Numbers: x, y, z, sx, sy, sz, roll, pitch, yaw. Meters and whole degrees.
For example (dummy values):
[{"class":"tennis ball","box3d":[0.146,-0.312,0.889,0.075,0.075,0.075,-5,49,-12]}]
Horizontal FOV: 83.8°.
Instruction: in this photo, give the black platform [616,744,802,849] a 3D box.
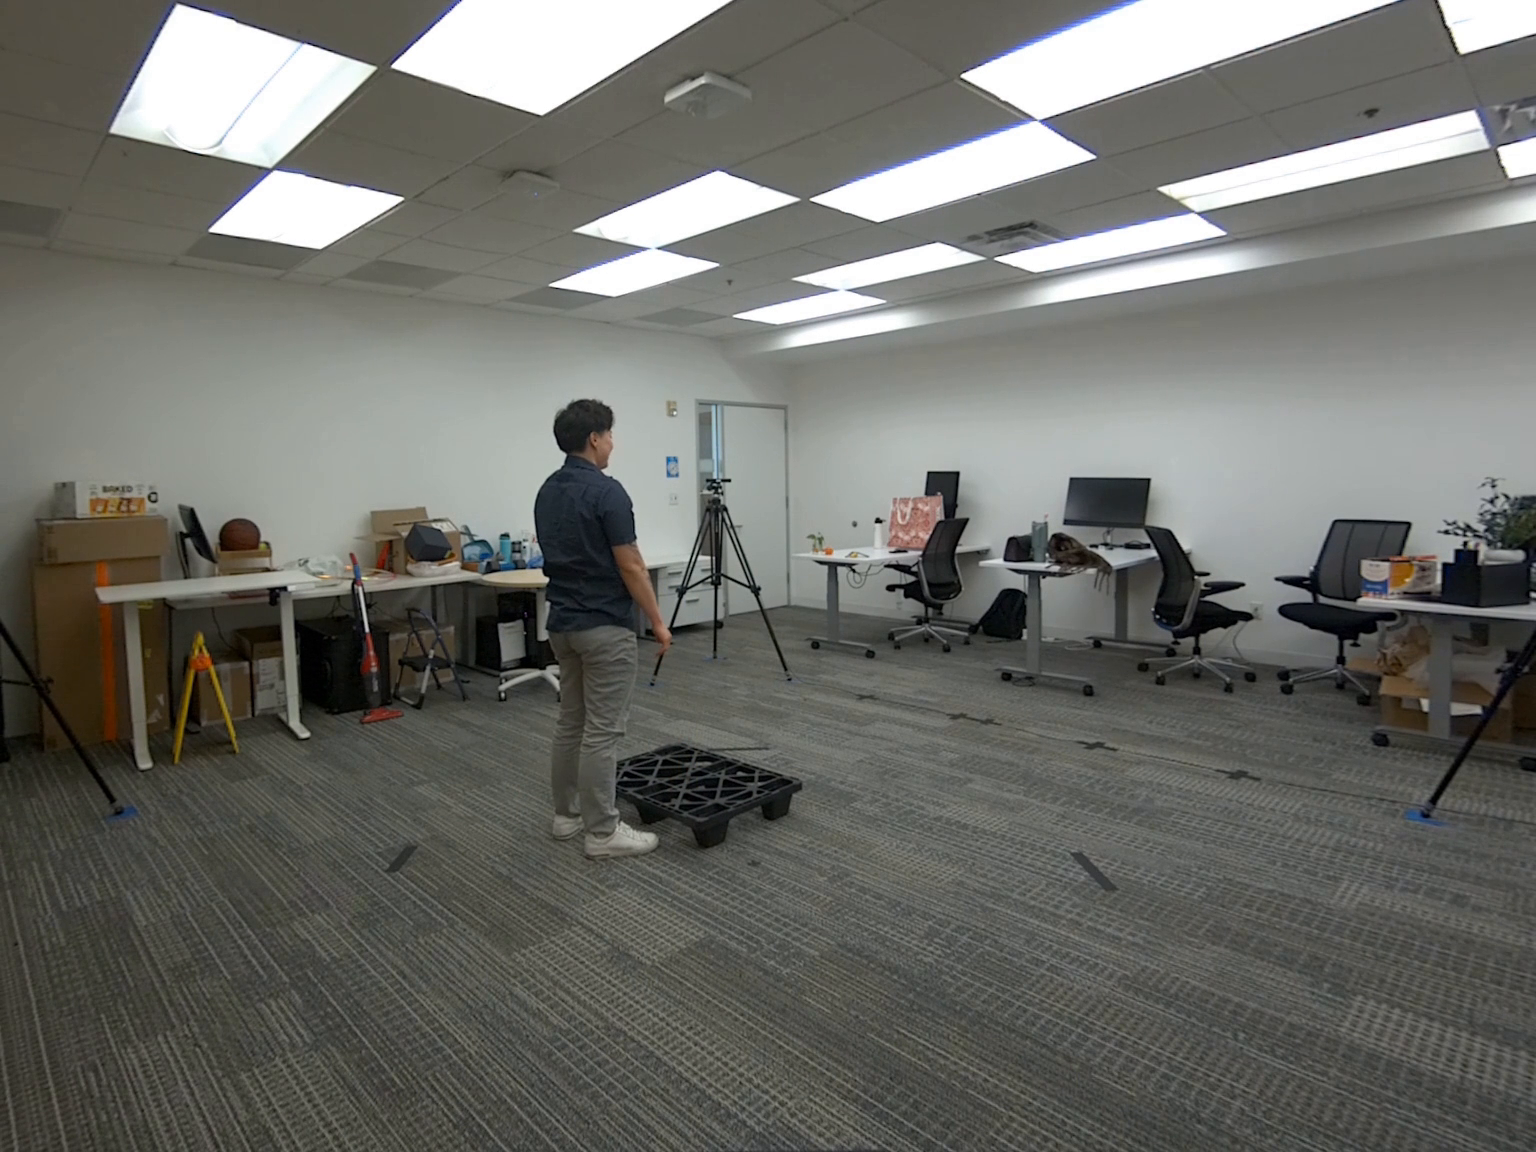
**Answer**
[{"class":"black platform","box3d":[-0.334,0.923,3.658,0.831,0.143,0.589,5,8,44]}]
